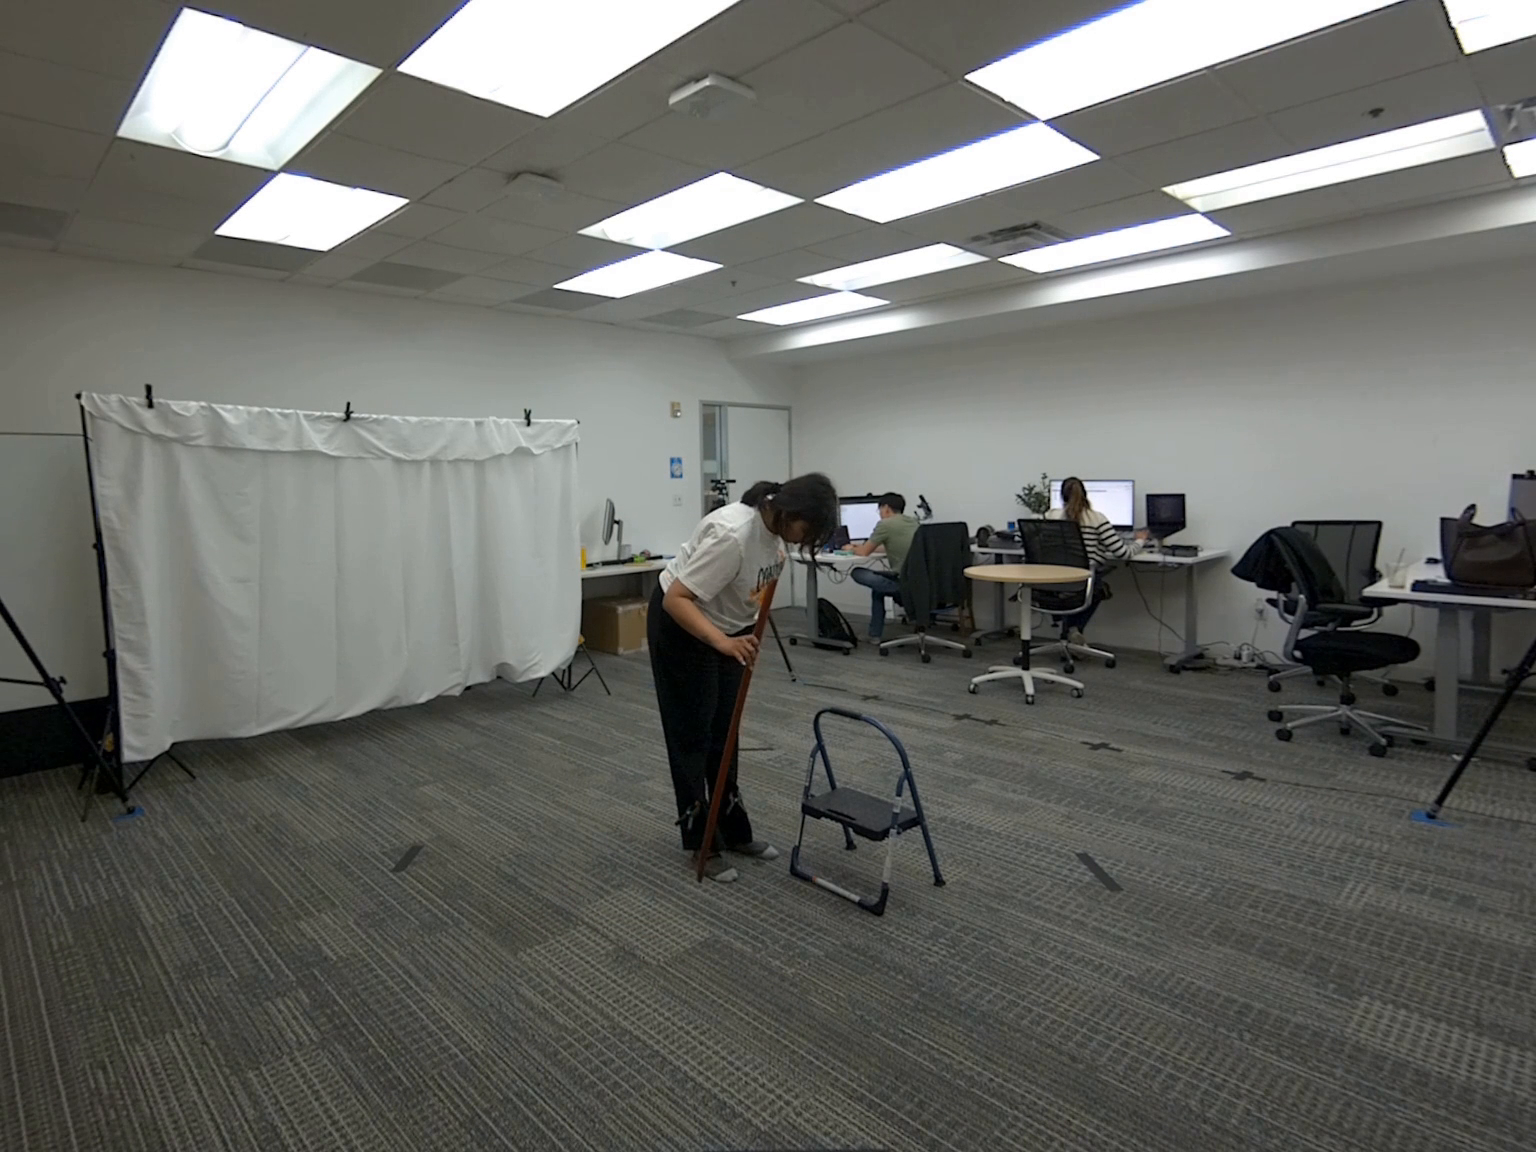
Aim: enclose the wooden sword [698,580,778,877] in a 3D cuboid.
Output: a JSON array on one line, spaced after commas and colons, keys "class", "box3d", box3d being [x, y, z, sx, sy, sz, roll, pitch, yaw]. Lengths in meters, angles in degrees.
[{"class": "wooden sword", "box3d": [-0.113, 0.495, 2.686, 0.024, 1.019, 0.050, 15, 8, 20]}]
